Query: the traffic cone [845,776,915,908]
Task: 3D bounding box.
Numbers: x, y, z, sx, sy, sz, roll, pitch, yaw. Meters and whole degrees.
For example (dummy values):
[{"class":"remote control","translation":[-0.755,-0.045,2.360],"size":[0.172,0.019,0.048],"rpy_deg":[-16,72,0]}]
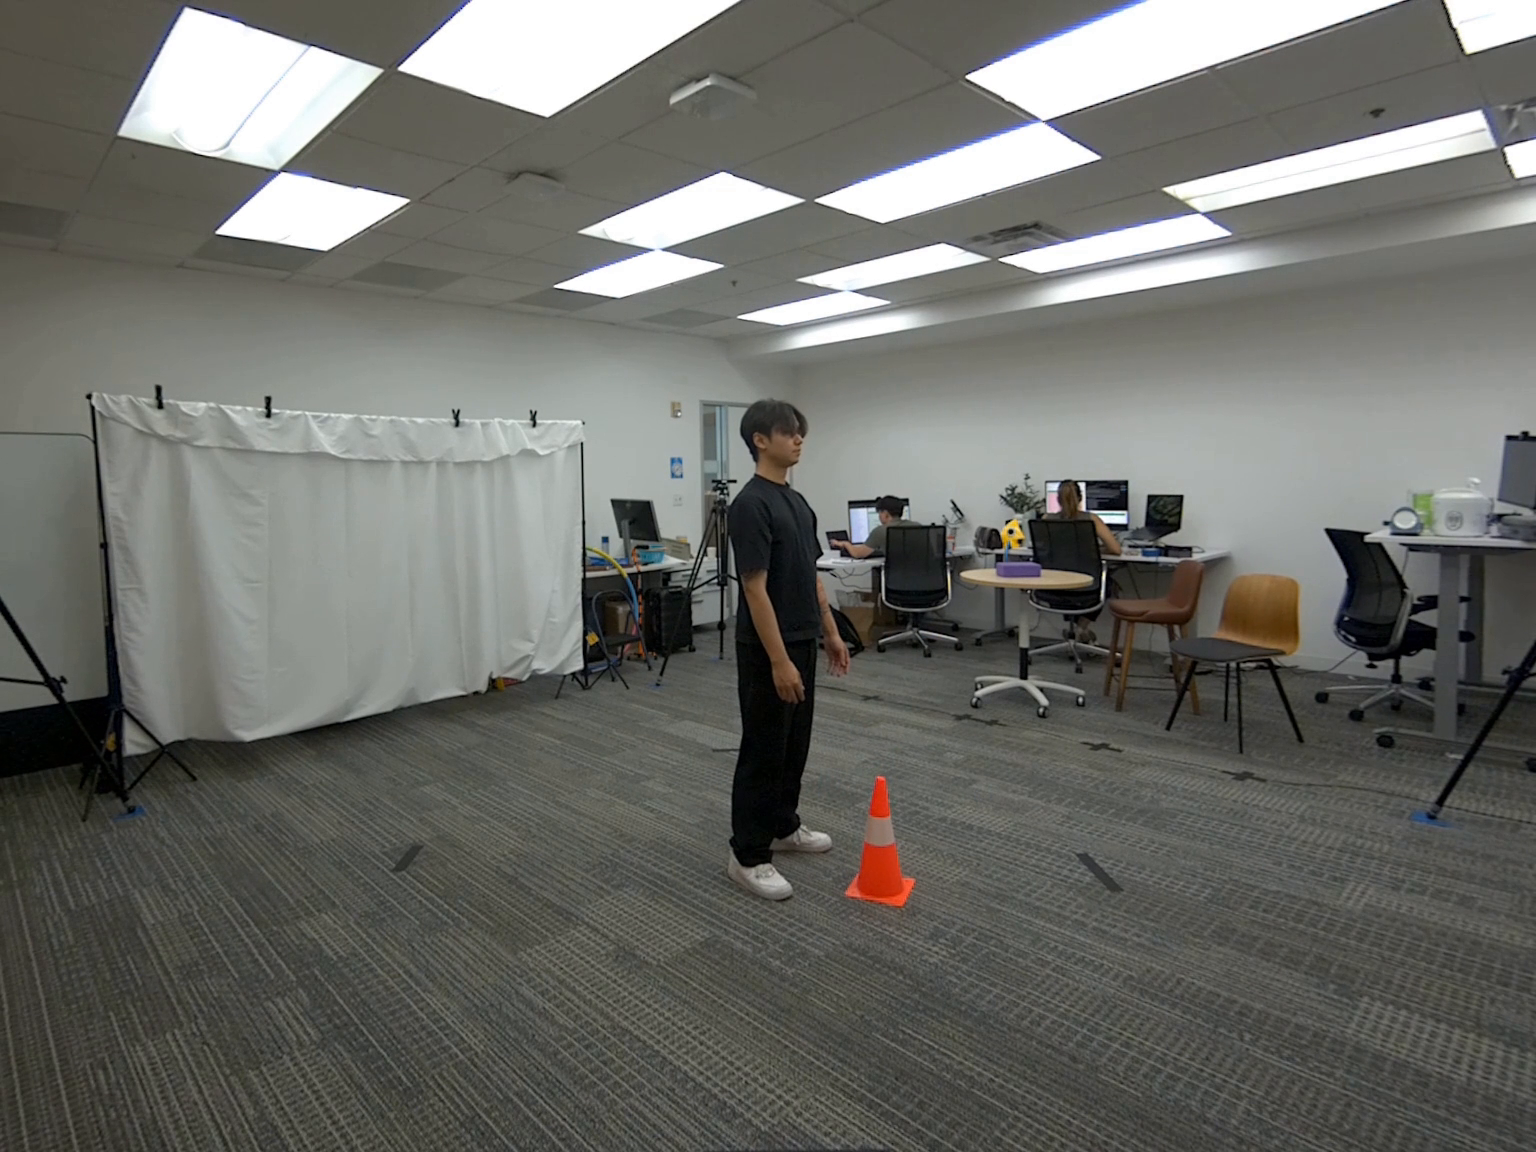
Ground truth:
[{"class":"traffic cone","translation":[0.380,0.872,2.898],"size":[0.210,0.382,0.199],"rpy_deg":[1,4,24]}]
